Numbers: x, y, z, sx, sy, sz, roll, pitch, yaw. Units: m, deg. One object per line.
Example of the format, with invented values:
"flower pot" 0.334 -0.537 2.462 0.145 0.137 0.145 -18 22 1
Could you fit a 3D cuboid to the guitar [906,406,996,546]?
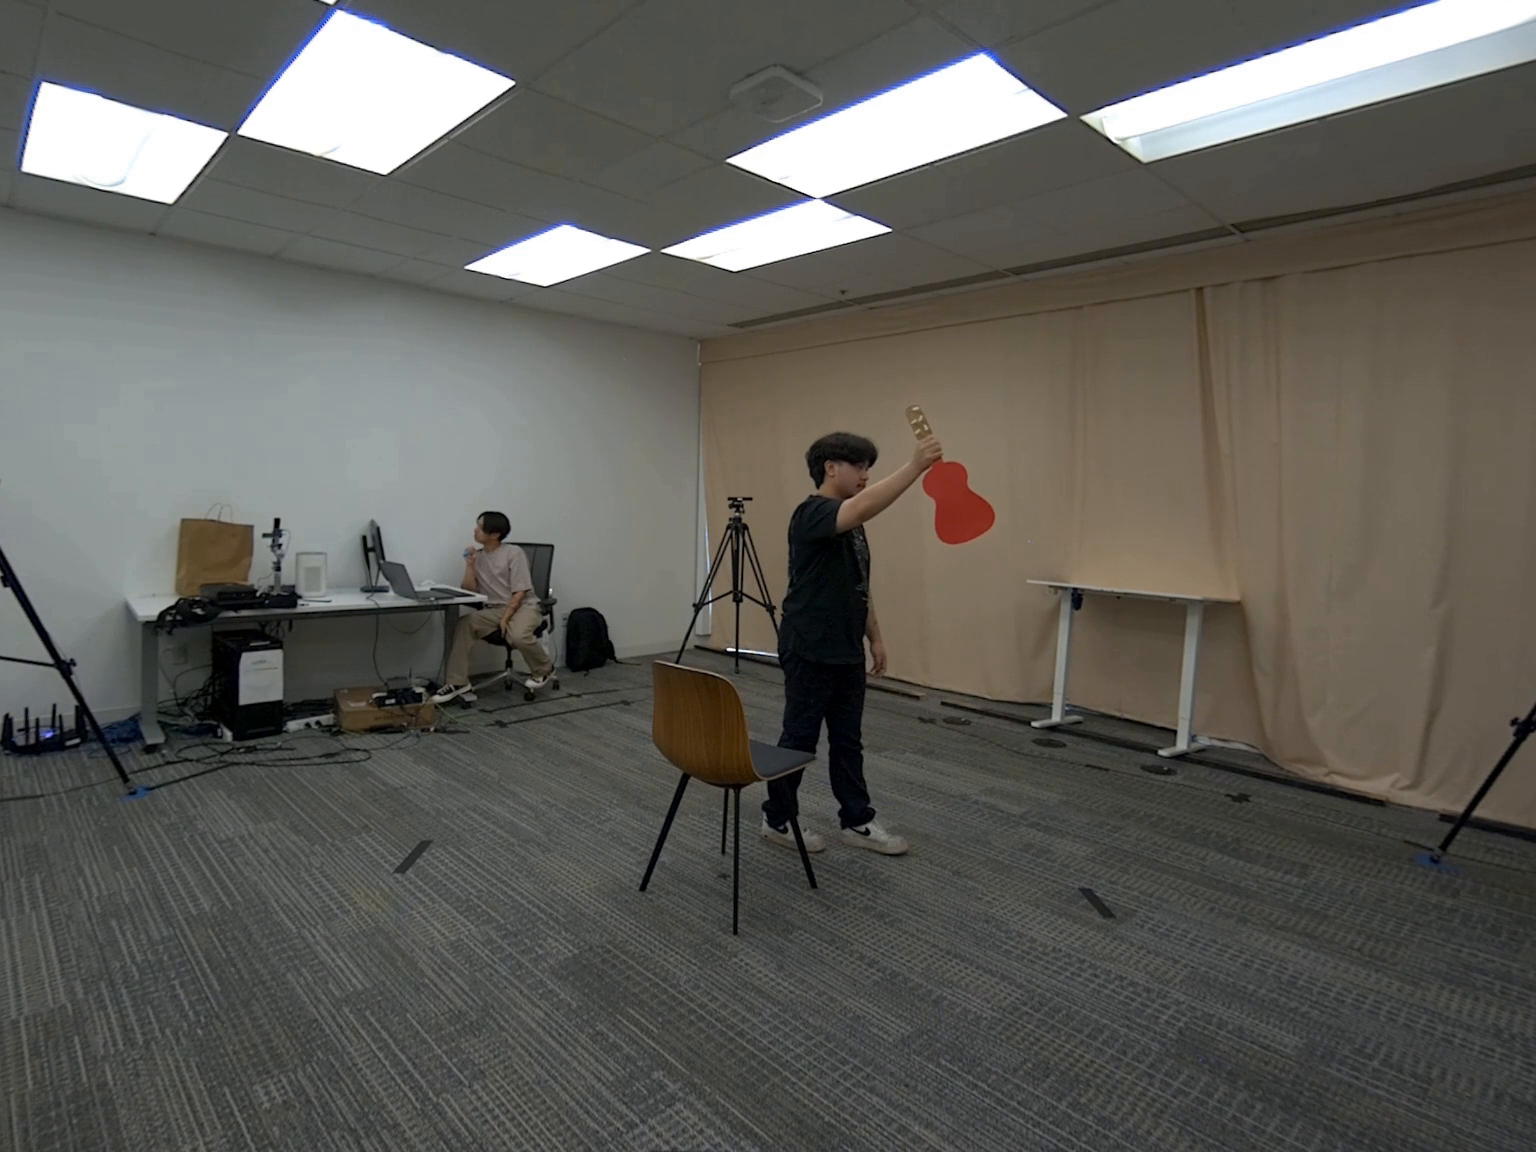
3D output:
"guitar" 0.548 -0.333 2.805 0.194 0.504 0.069 -34 -13 16
